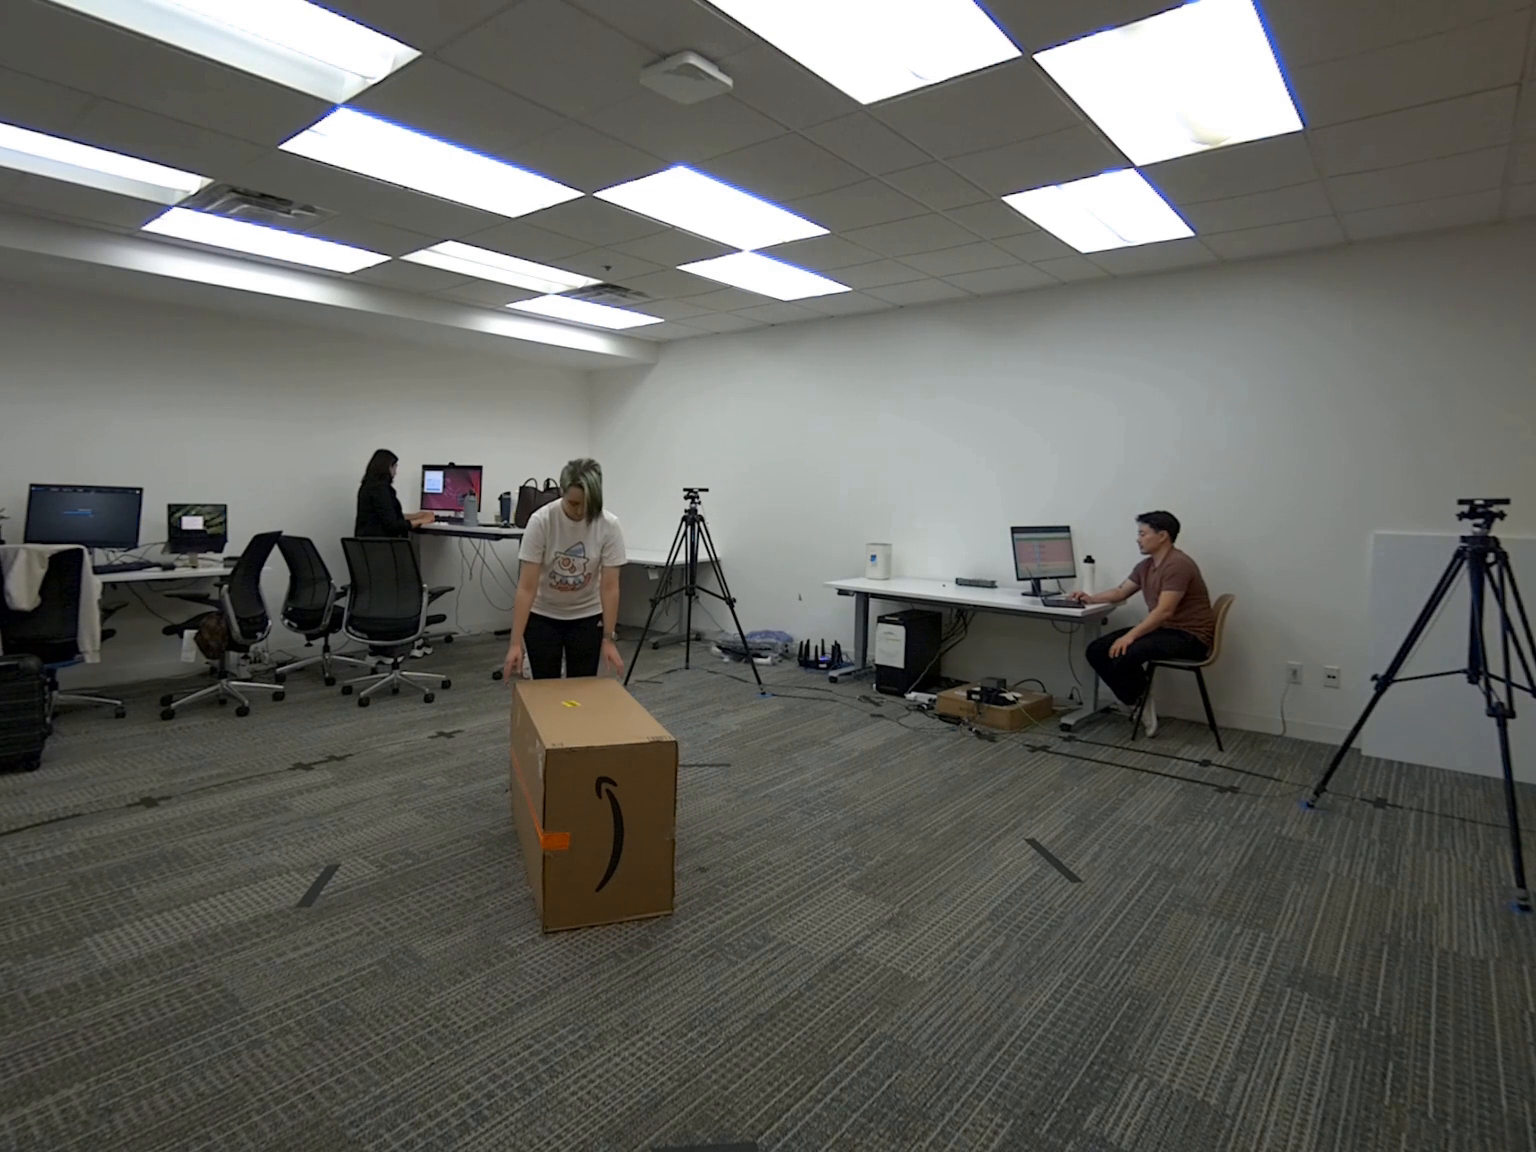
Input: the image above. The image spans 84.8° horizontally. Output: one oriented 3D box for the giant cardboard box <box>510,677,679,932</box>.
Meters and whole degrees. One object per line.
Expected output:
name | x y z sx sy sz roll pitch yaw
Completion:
giant cardboard box | -0.700 0.765 3.168 0.437 0.582 1.052 -1 5 -22
